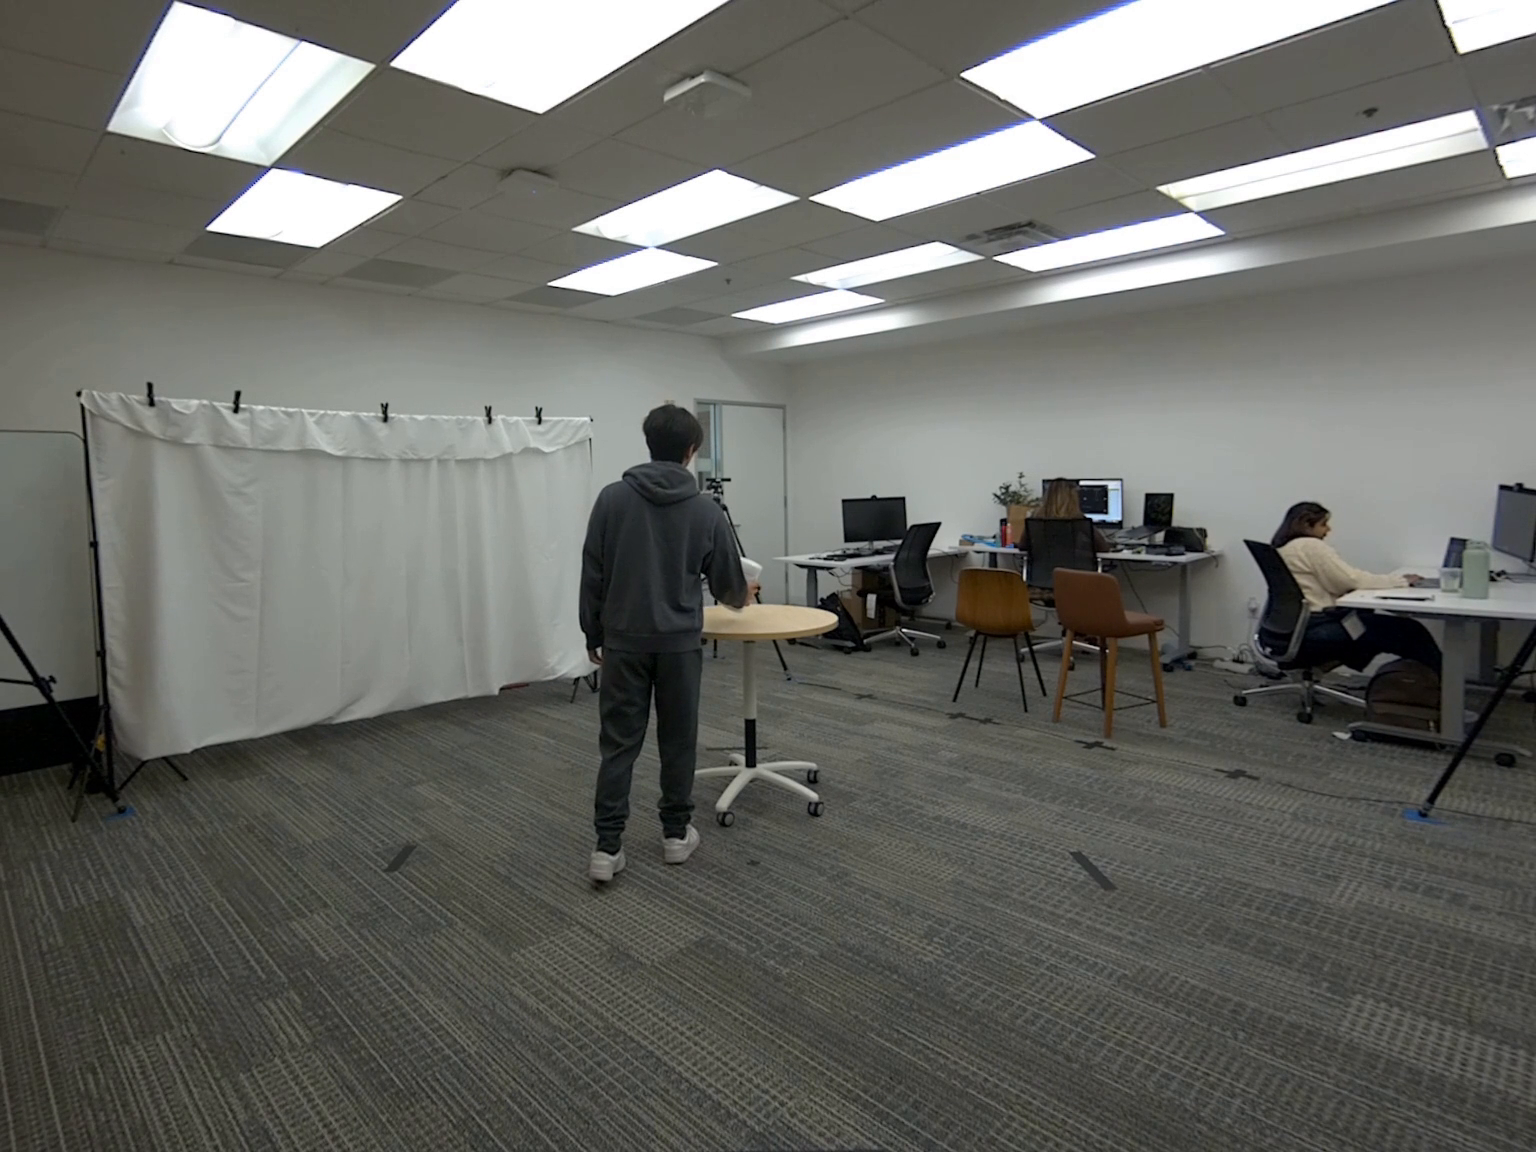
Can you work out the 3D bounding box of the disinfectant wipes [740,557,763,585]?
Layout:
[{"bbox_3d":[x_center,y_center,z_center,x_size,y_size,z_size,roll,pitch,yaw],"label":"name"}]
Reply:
[{"bbox_3d":[-0.107,0.039,3.589,0.117,0.217,0.119,24,7,-5],"label":"disinfectant wipes"}]
